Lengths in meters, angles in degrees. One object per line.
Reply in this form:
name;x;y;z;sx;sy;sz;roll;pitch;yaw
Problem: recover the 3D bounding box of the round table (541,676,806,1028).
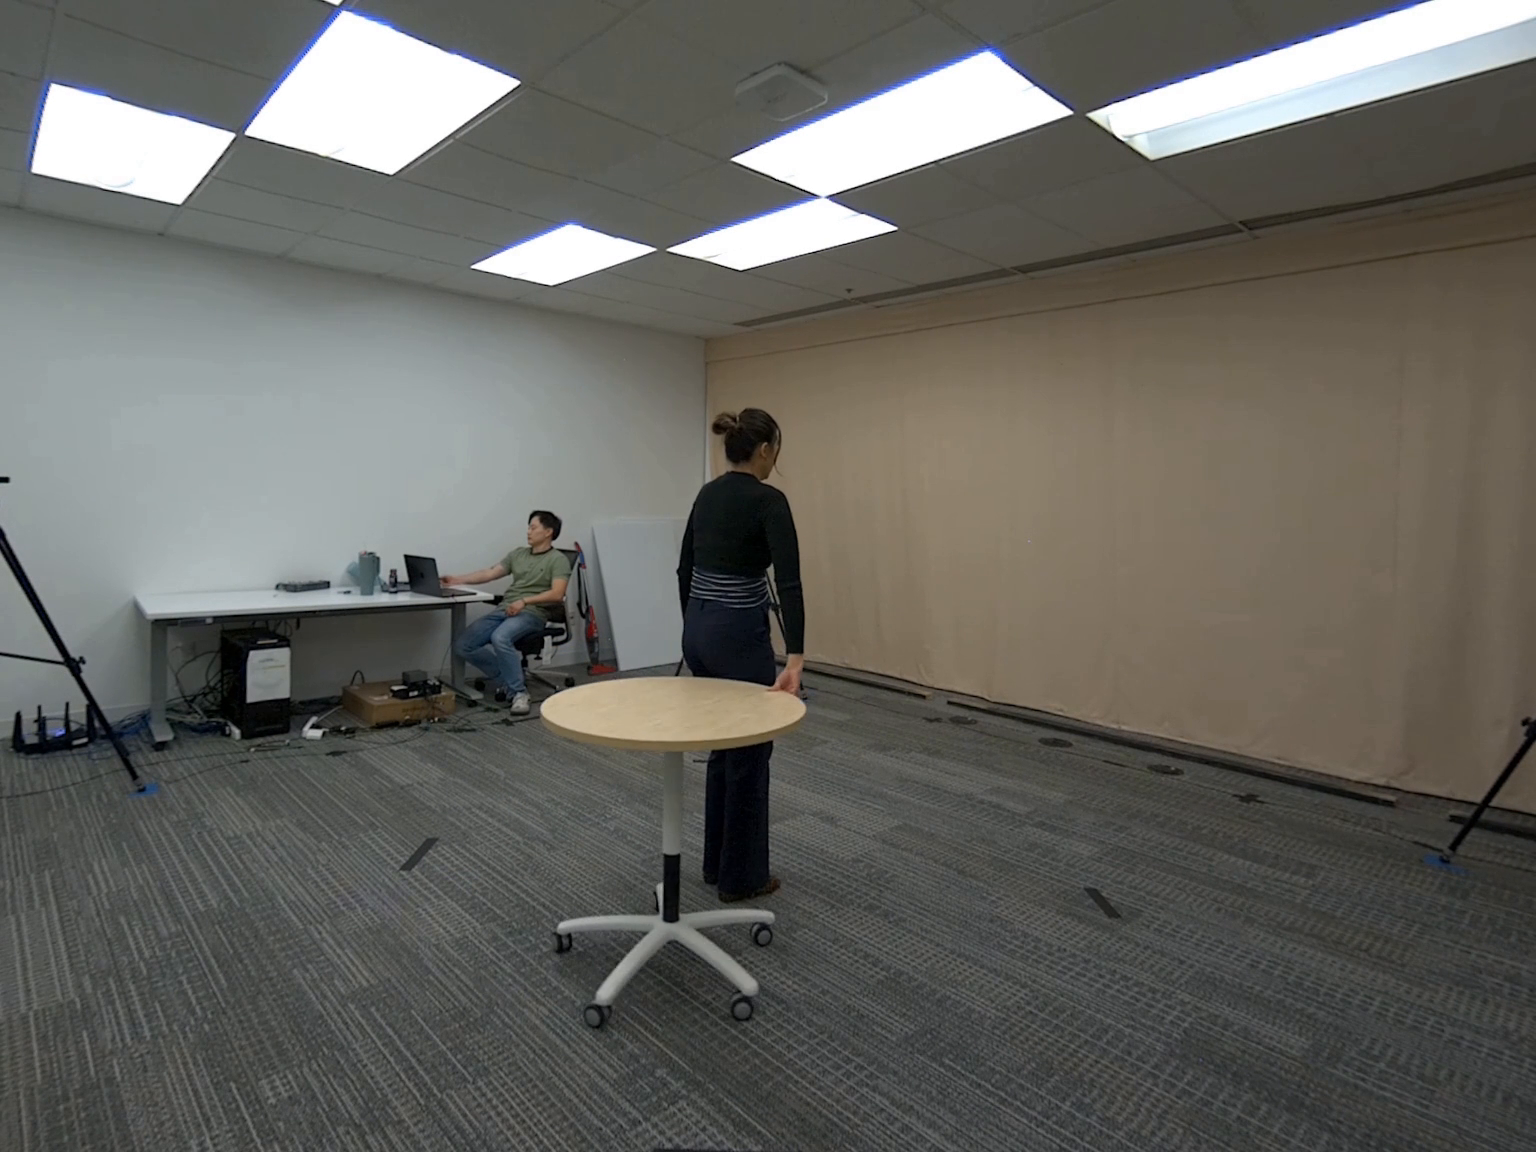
round table;-0.292;0.770;2.471;0.763;0.792;0.766;1;4;-1
